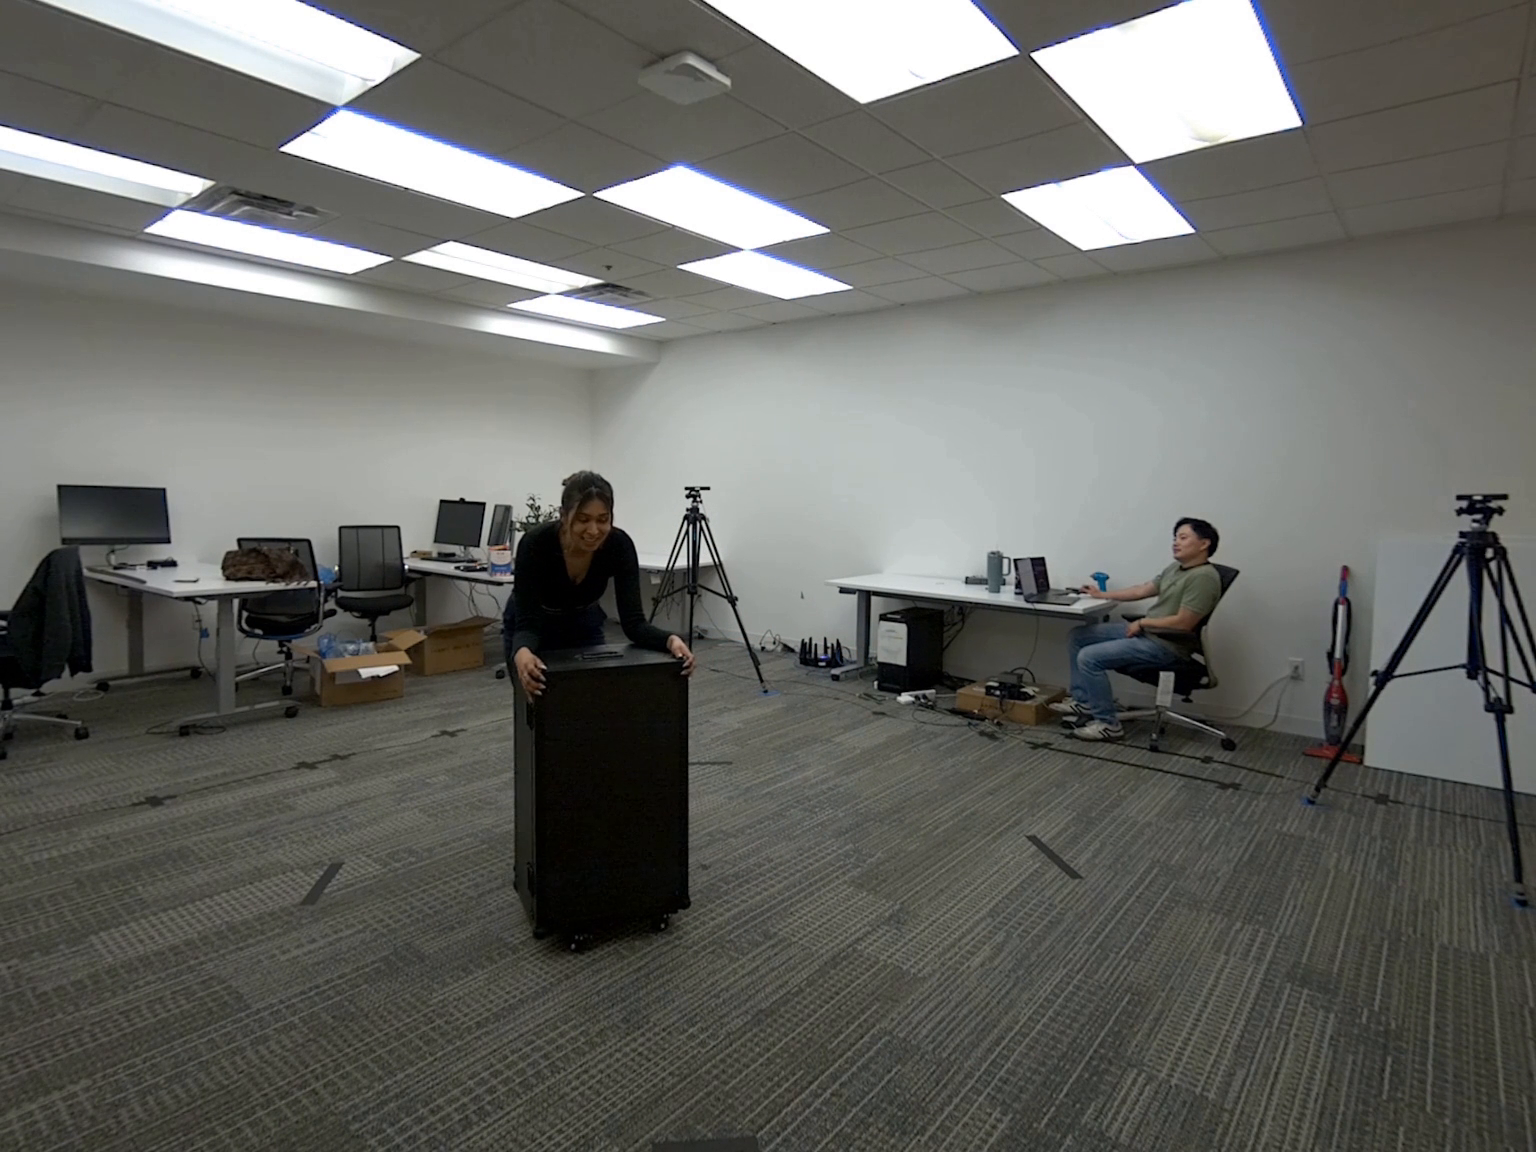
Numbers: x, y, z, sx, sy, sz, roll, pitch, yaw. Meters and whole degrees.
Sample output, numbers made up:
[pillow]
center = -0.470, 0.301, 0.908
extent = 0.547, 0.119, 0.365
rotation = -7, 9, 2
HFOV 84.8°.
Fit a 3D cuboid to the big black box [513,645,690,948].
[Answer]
[big black box]
center = -0.557, 0.676, 2.716
extent = 0.509, 0.860, 0.406
rotation = -2, 3, -25
